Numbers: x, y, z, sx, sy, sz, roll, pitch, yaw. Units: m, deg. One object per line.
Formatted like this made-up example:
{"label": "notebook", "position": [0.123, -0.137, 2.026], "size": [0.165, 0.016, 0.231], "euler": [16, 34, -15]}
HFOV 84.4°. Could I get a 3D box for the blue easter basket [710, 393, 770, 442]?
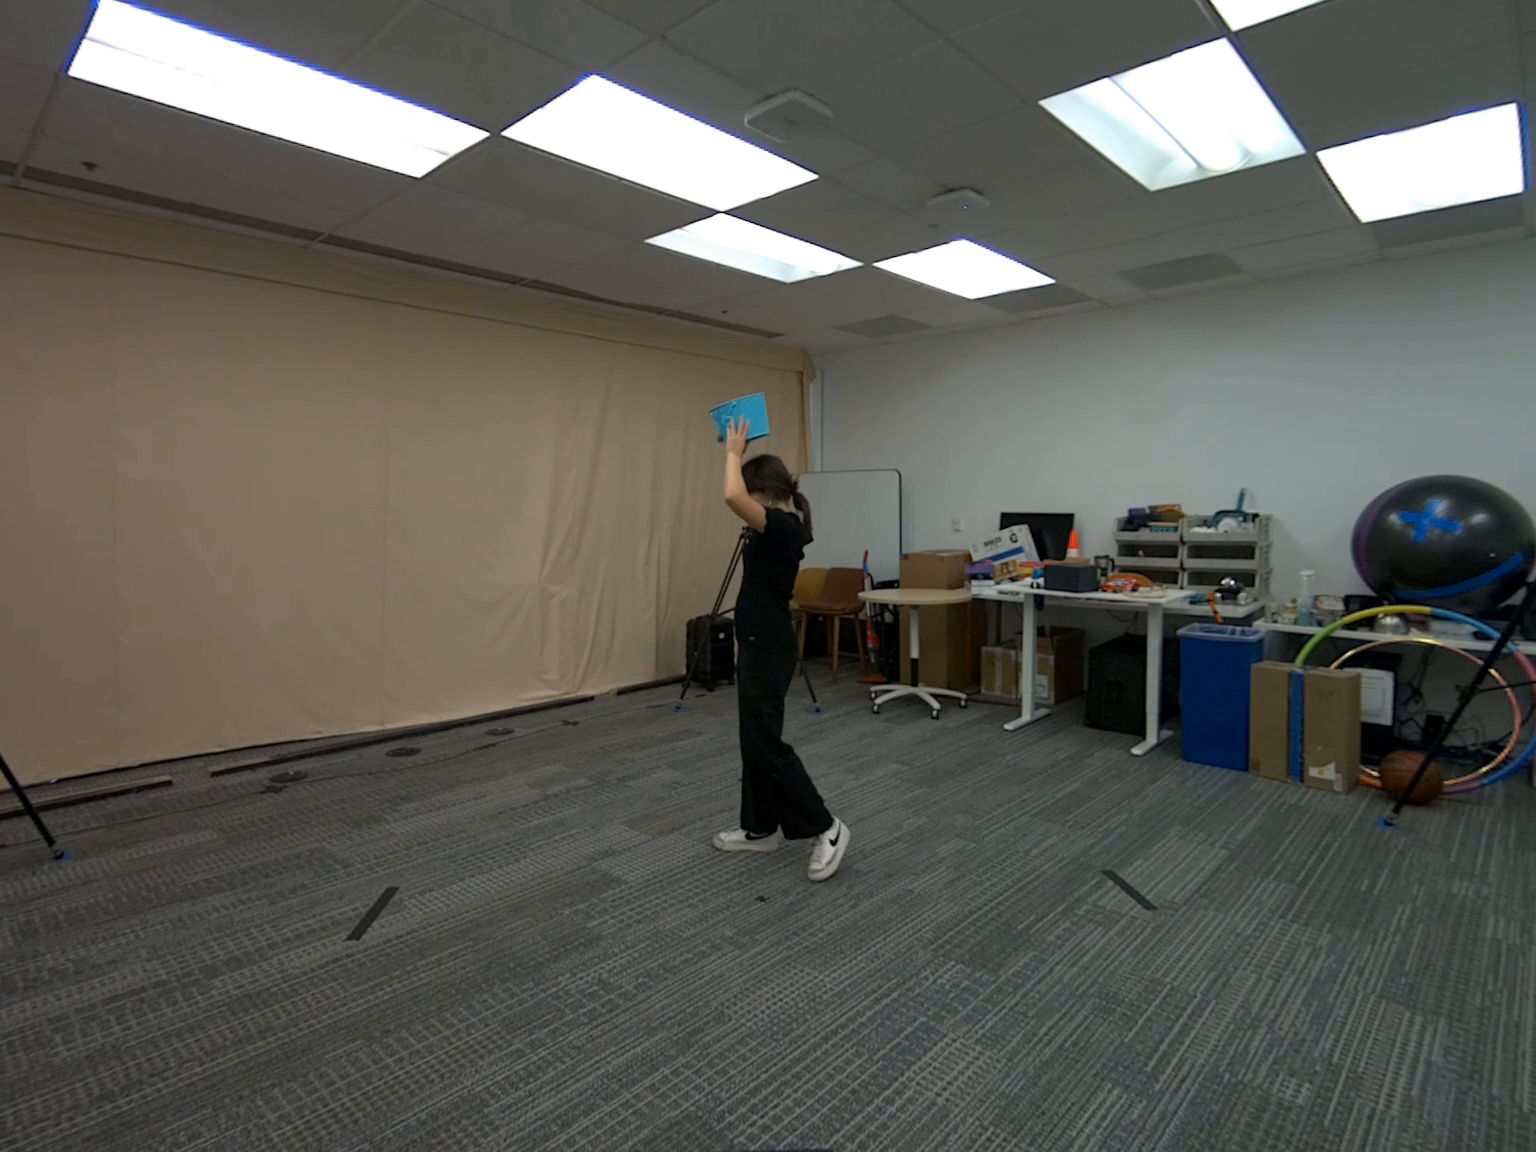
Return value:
{"label": "blue easter basket", "position": [-0.105, -0.598, 3.273], "size": [0.243, 0.155, 0.244], "euler": [-20, 4, -1]}
